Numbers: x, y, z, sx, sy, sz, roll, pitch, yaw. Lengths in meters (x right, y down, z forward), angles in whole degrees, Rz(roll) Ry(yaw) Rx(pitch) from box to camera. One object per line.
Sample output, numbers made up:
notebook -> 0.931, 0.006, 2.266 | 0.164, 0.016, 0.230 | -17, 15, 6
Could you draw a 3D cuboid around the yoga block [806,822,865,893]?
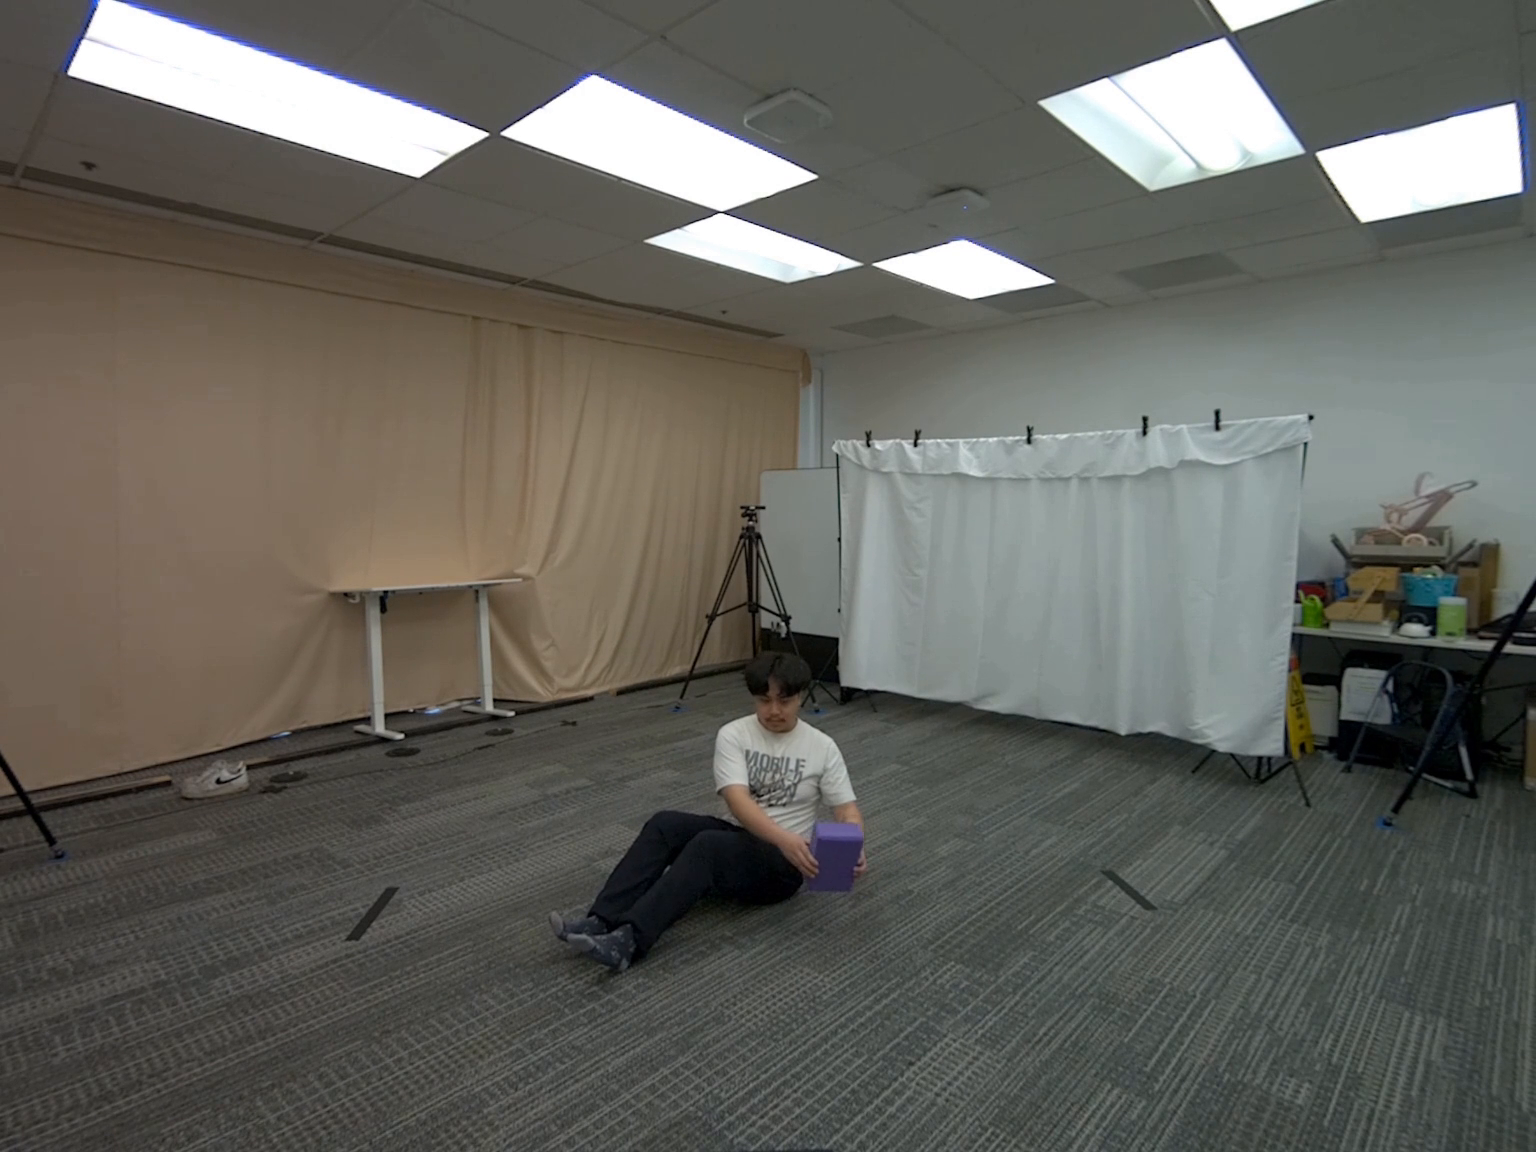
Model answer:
yoga block -> 0.191, 0.875, 2.640 | 0.148, 0.227, 0.078 | 5, 22, -8
